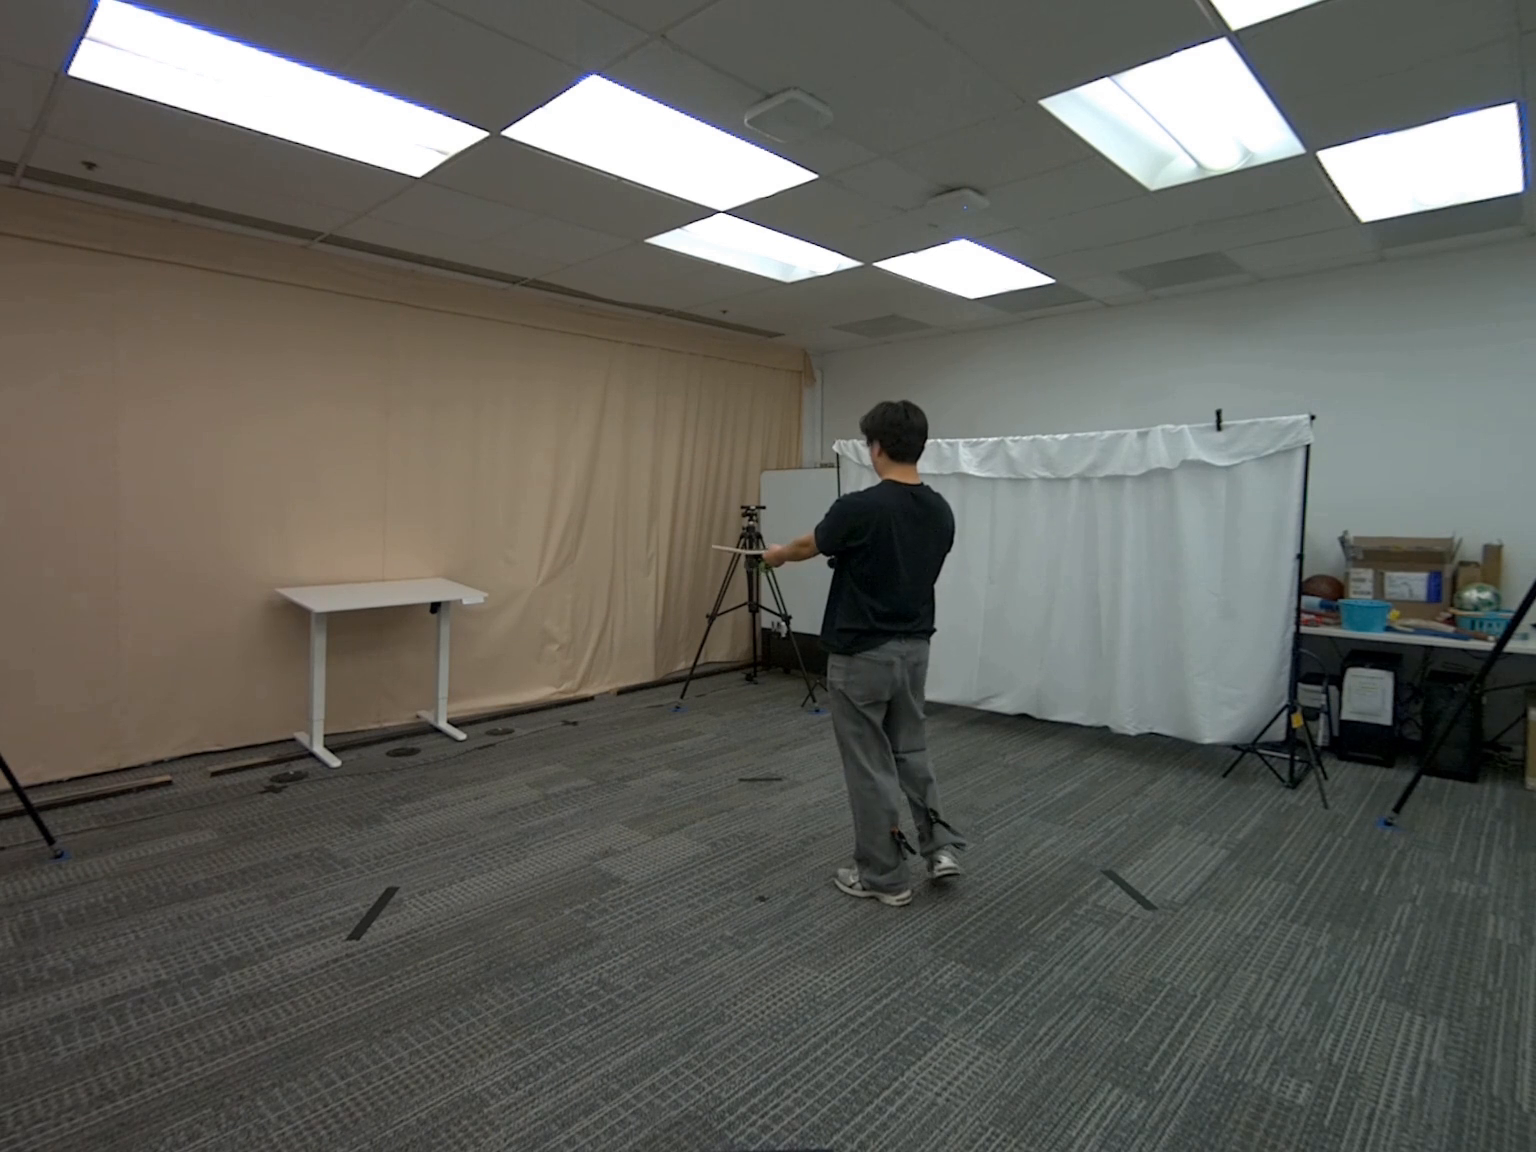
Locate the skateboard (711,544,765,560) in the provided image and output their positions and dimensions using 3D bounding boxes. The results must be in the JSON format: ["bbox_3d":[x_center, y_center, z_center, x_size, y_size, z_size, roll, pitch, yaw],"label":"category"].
[{"bbox_3d":[0.139,-0.074,3.493,0.769,0.110,0.198,-1,3,-21],"label":"skateboard"}]
